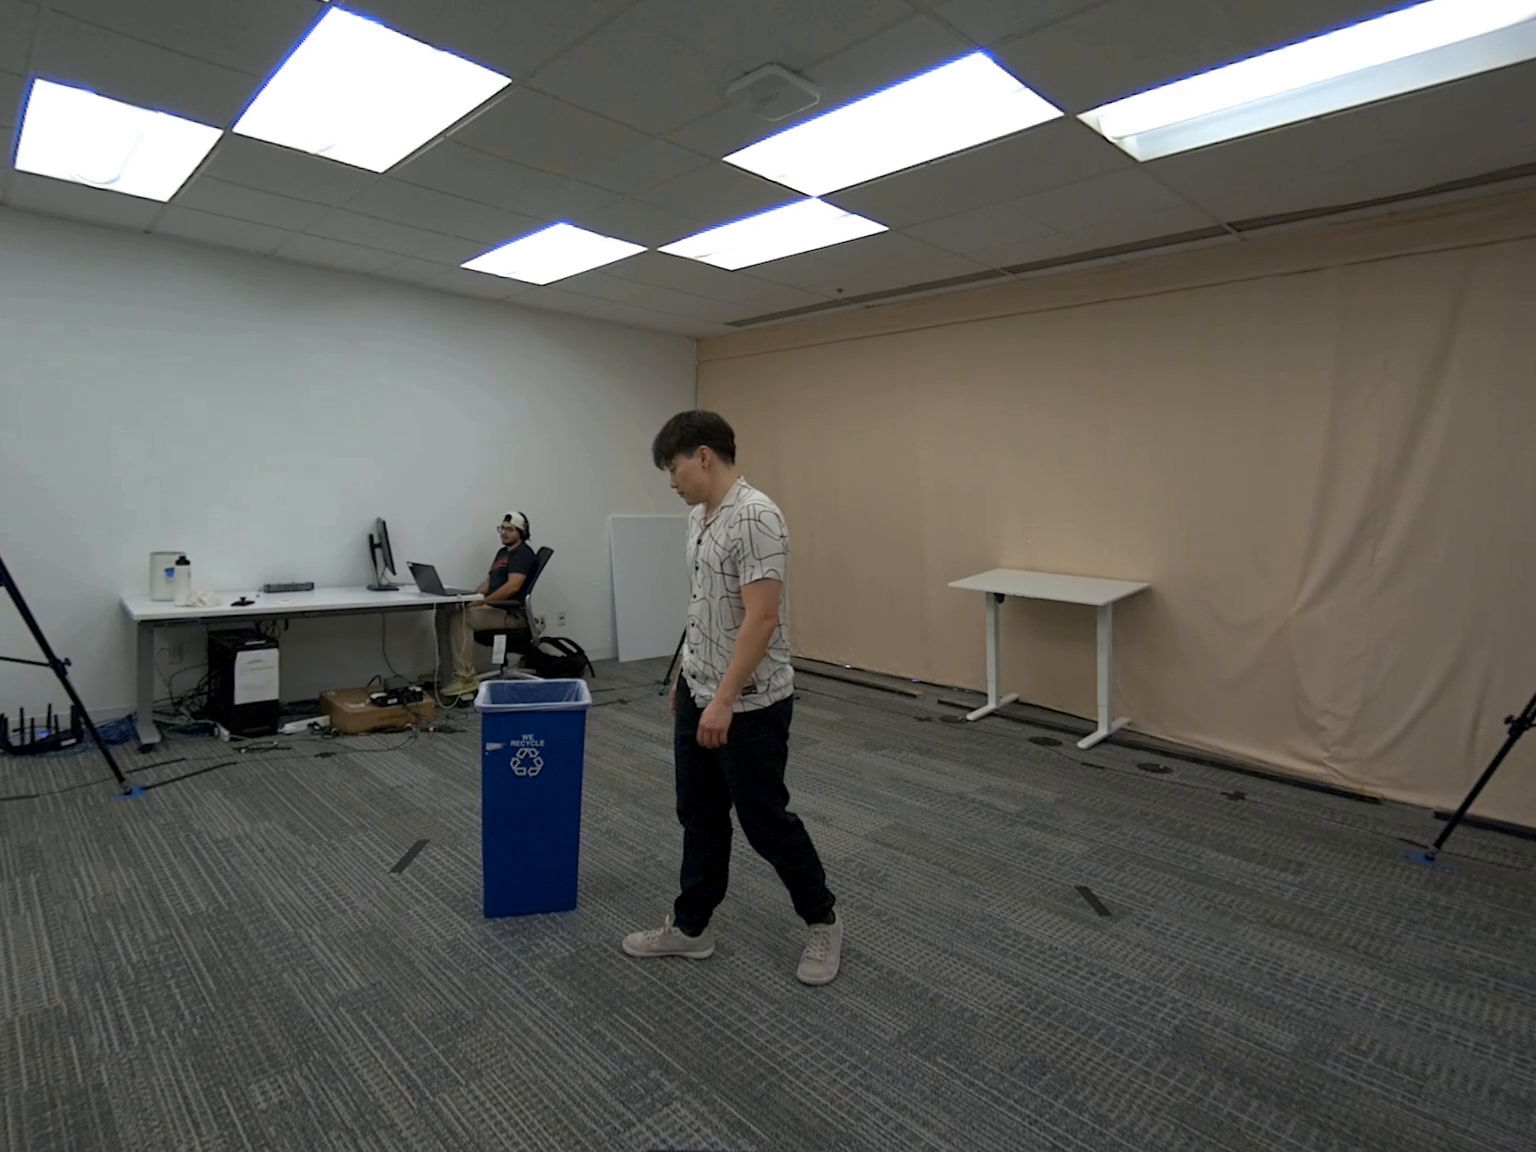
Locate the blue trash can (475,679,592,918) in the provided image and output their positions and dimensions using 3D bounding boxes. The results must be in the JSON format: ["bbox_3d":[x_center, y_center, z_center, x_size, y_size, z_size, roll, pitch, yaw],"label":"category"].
[{"bbox_3d":[-0.817,0.750,2.909,0.369,0.711,0.384,1,4,-16],"label":"blue trash can"}]
